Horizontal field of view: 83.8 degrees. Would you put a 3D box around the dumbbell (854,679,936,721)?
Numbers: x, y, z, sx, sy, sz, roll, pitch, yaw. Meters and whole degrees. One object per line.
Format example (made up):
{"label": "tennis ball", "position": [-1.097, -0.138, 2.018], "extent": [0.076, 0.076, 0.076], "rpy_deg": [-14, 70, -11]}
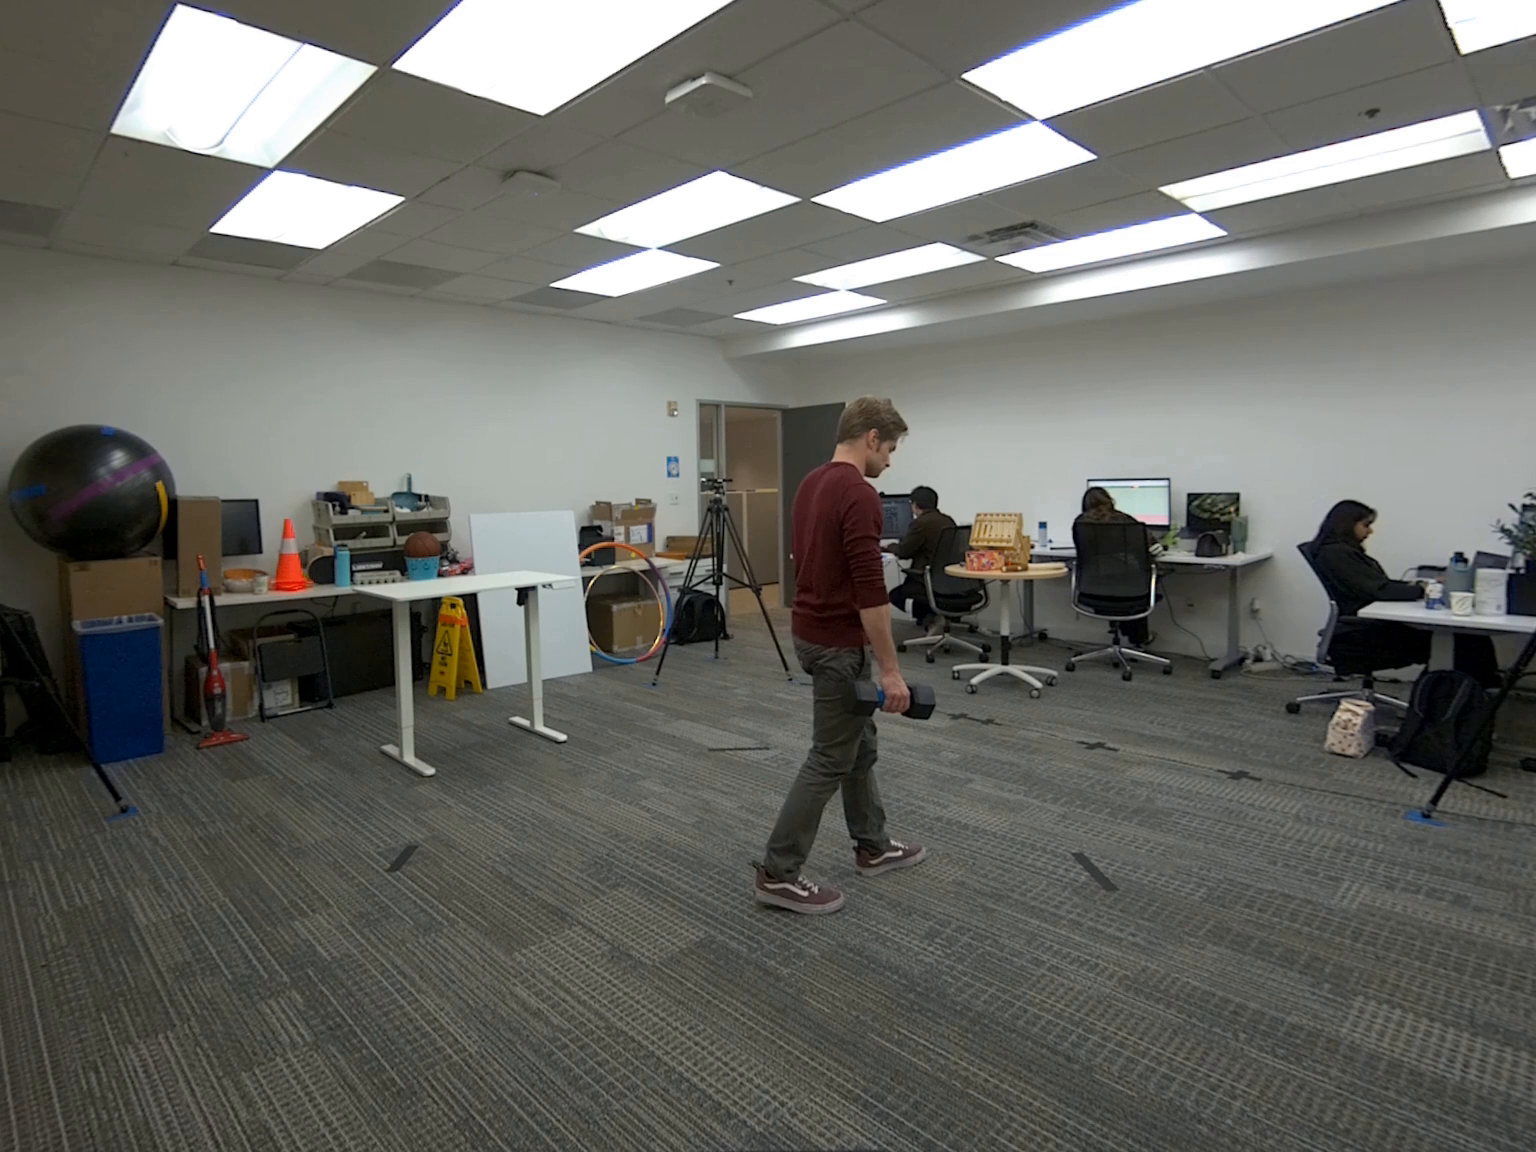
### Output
{"label": "dumbbell", "position": [0.383, 0.385, 2.675], "extent": [0.286, 0.126, 0.108], "rpy_deg": [7, -33, -25]}
